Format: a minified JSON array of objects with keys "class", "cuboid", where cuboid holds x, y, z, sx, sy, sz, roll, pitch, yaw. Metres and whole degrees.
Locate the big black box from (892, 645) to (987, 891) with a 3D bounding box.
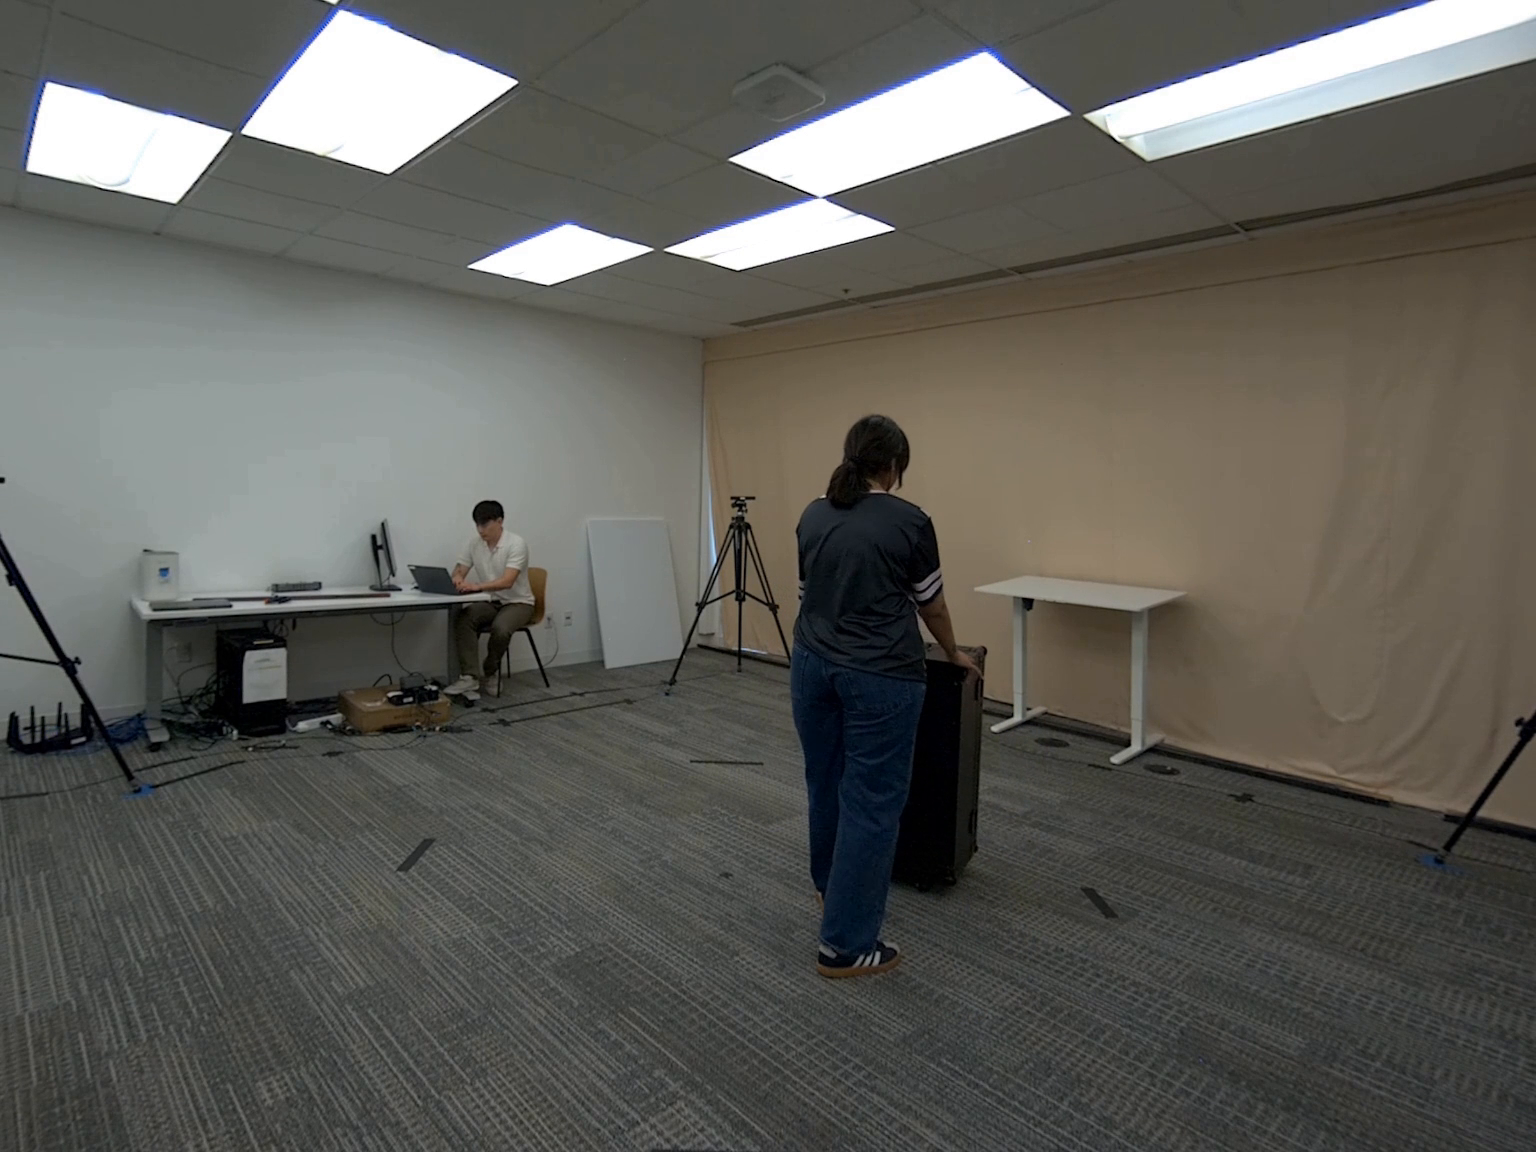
[{"class":"big black box","cuboid":[0.522,0.699,3.147,0.534,0.866,0.378,3,4,27]}]
